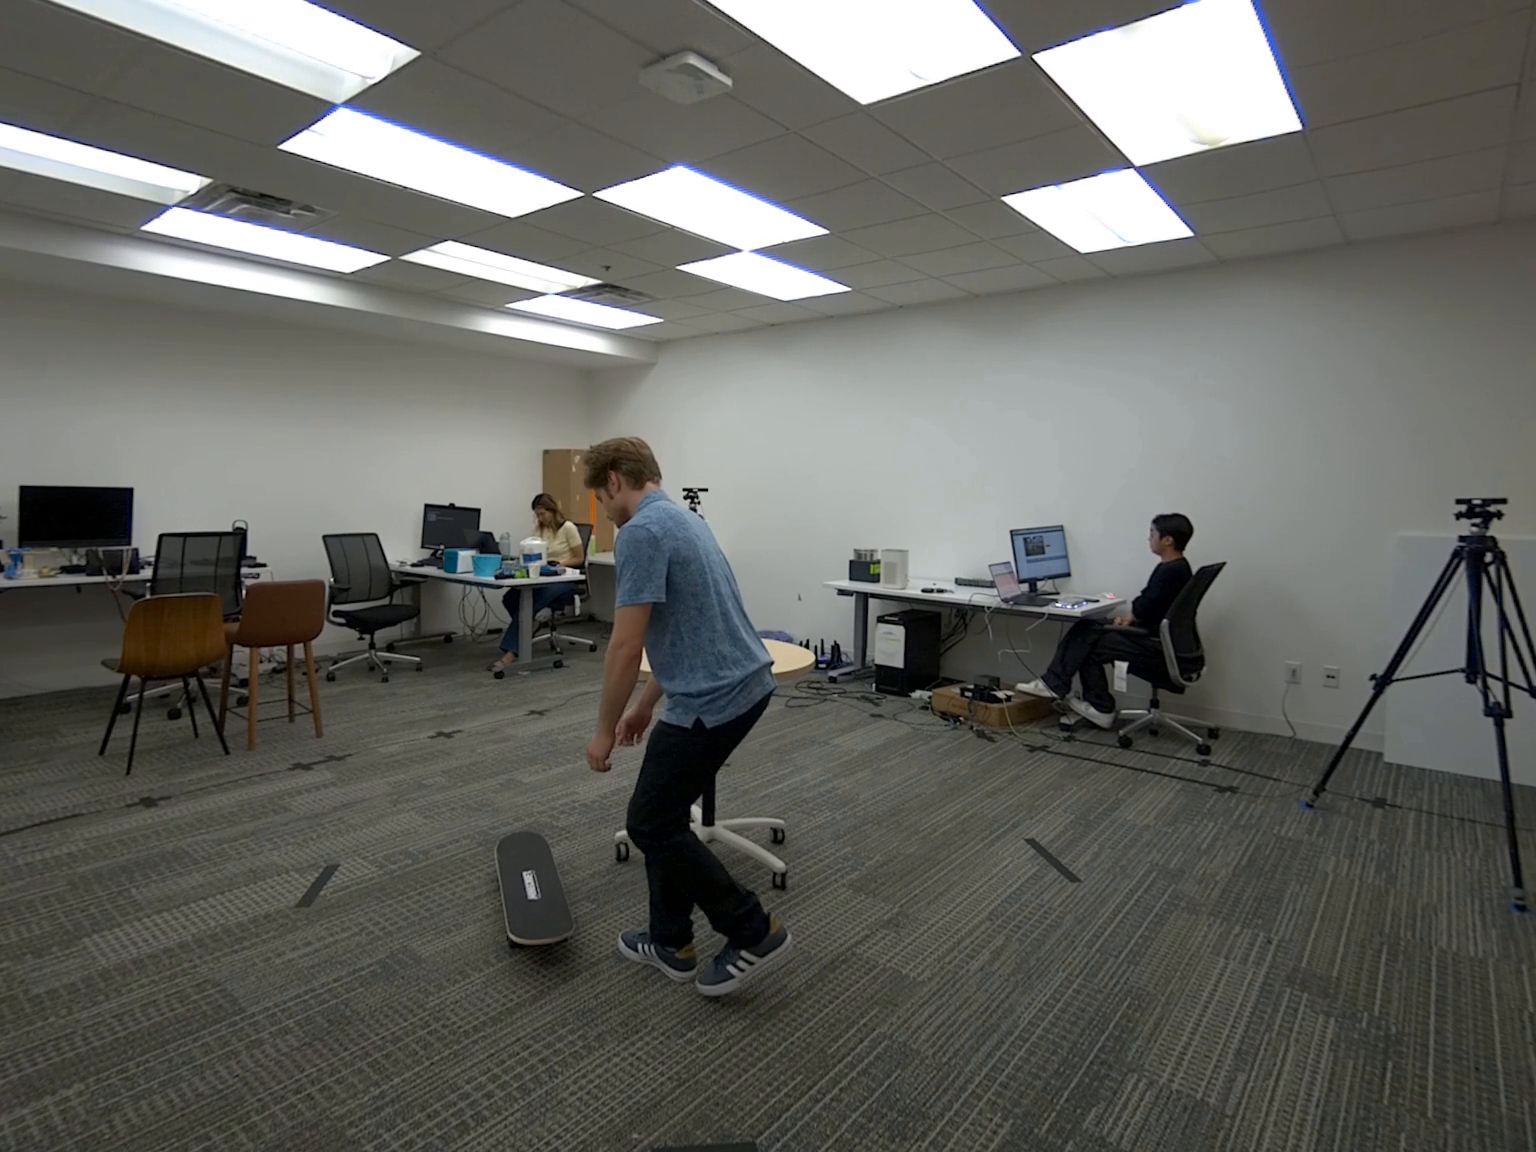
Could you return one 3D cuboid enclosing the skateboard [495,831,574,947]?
[{"bbox_3d":[-0.788,1.040,2.775,0.190,0.110,0.804,-2,7,-21],"label":"skateboard"}]
